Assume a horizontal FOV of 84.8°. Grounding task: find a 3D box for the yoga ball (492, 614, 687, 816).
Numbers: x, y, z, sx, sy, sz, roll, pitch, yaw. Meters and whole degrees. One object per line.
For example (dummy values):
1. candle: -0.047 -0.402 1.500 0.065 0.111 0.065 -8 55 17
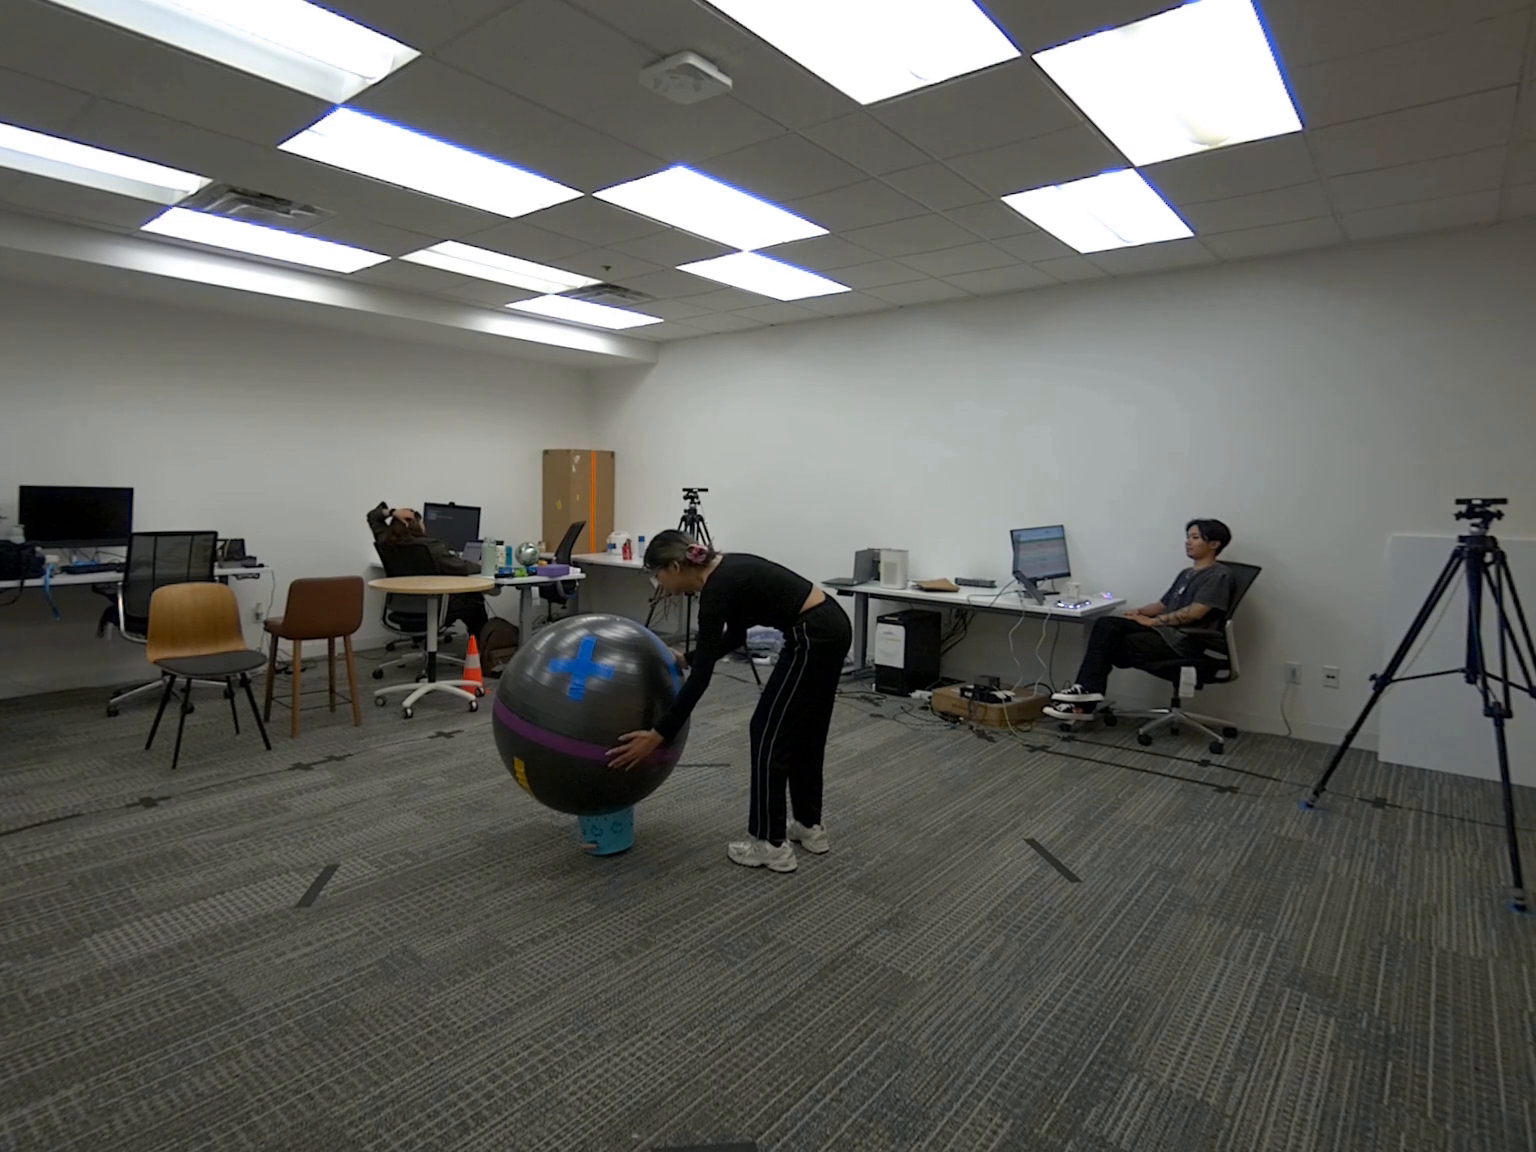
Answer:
1. yoga ball: -0.686 0.532 3.289 0.757 0.755 0.762 1 4 -2
